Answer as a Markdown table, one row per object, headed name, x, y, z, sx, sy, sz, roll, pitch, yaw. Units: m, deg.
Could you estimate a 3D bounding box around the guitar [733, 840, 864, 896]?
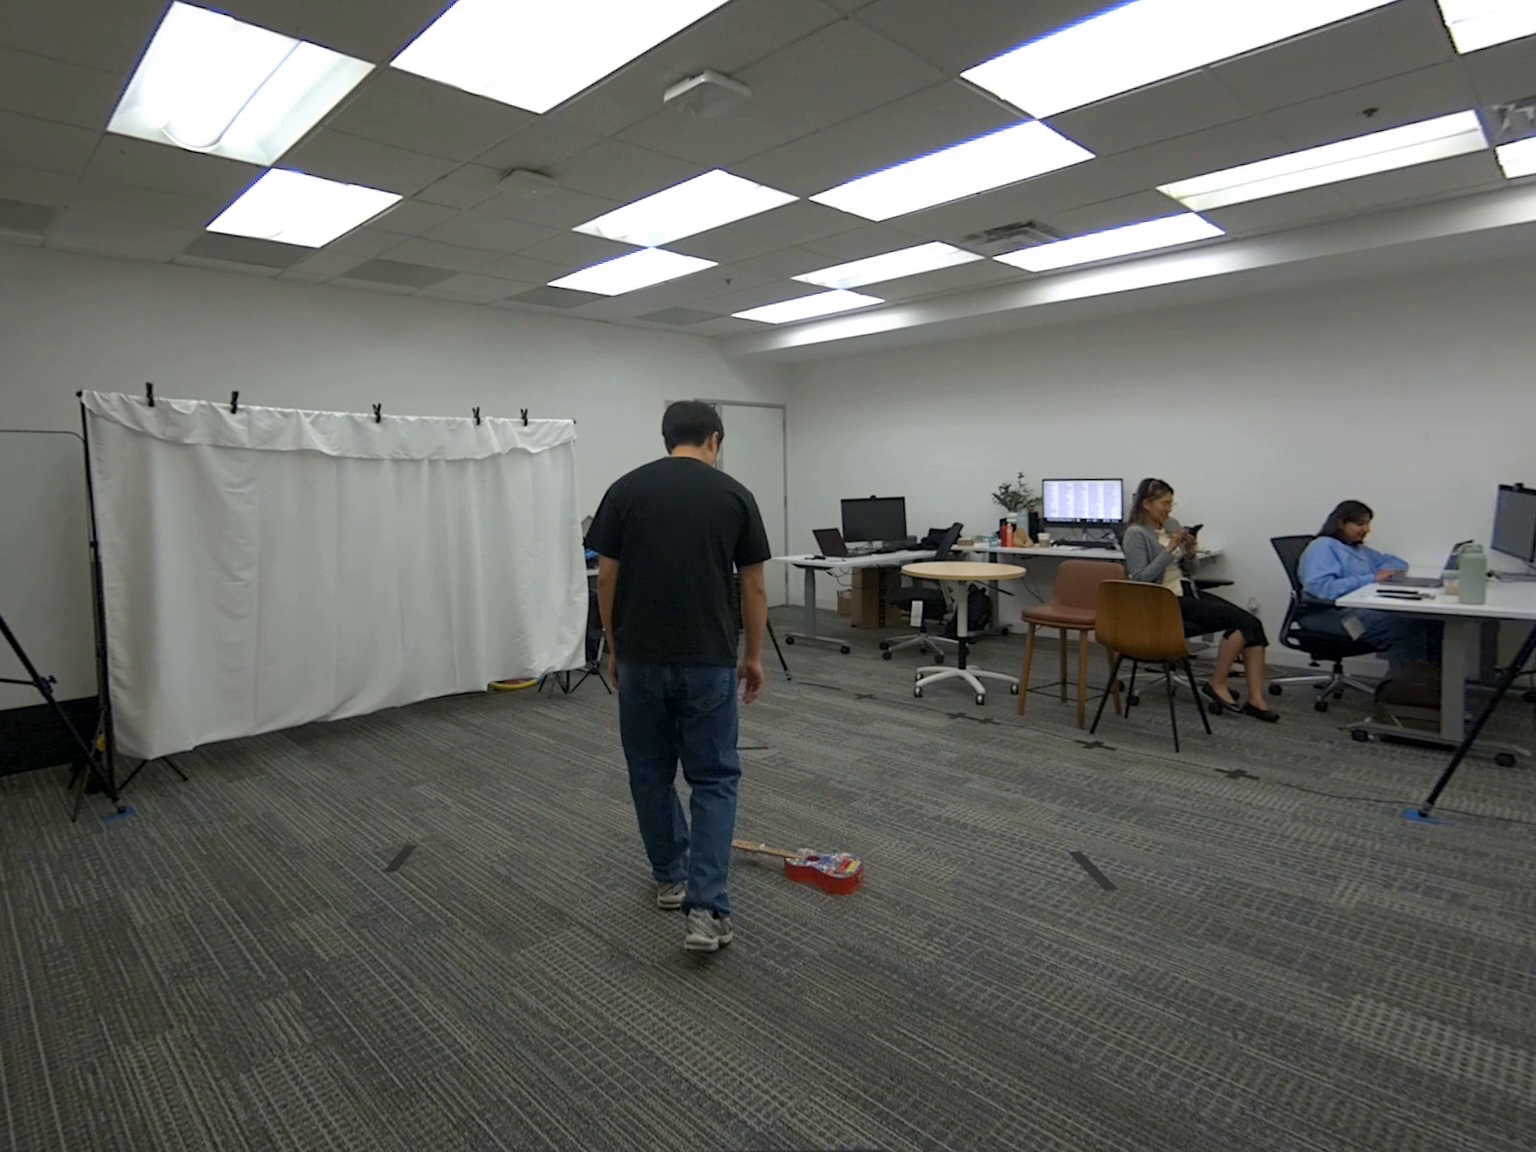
| name | x | y | z | sx | sy | sz | roll | pitch | yaw |
| --- | --- | --- | --- | --- | --- | --- | --- | --- | --- |
| guitar | 0.109 | 1.013 | 3.052 | 0.512 | 0.070 | 0.188 | 4 | 7 | 35 |
